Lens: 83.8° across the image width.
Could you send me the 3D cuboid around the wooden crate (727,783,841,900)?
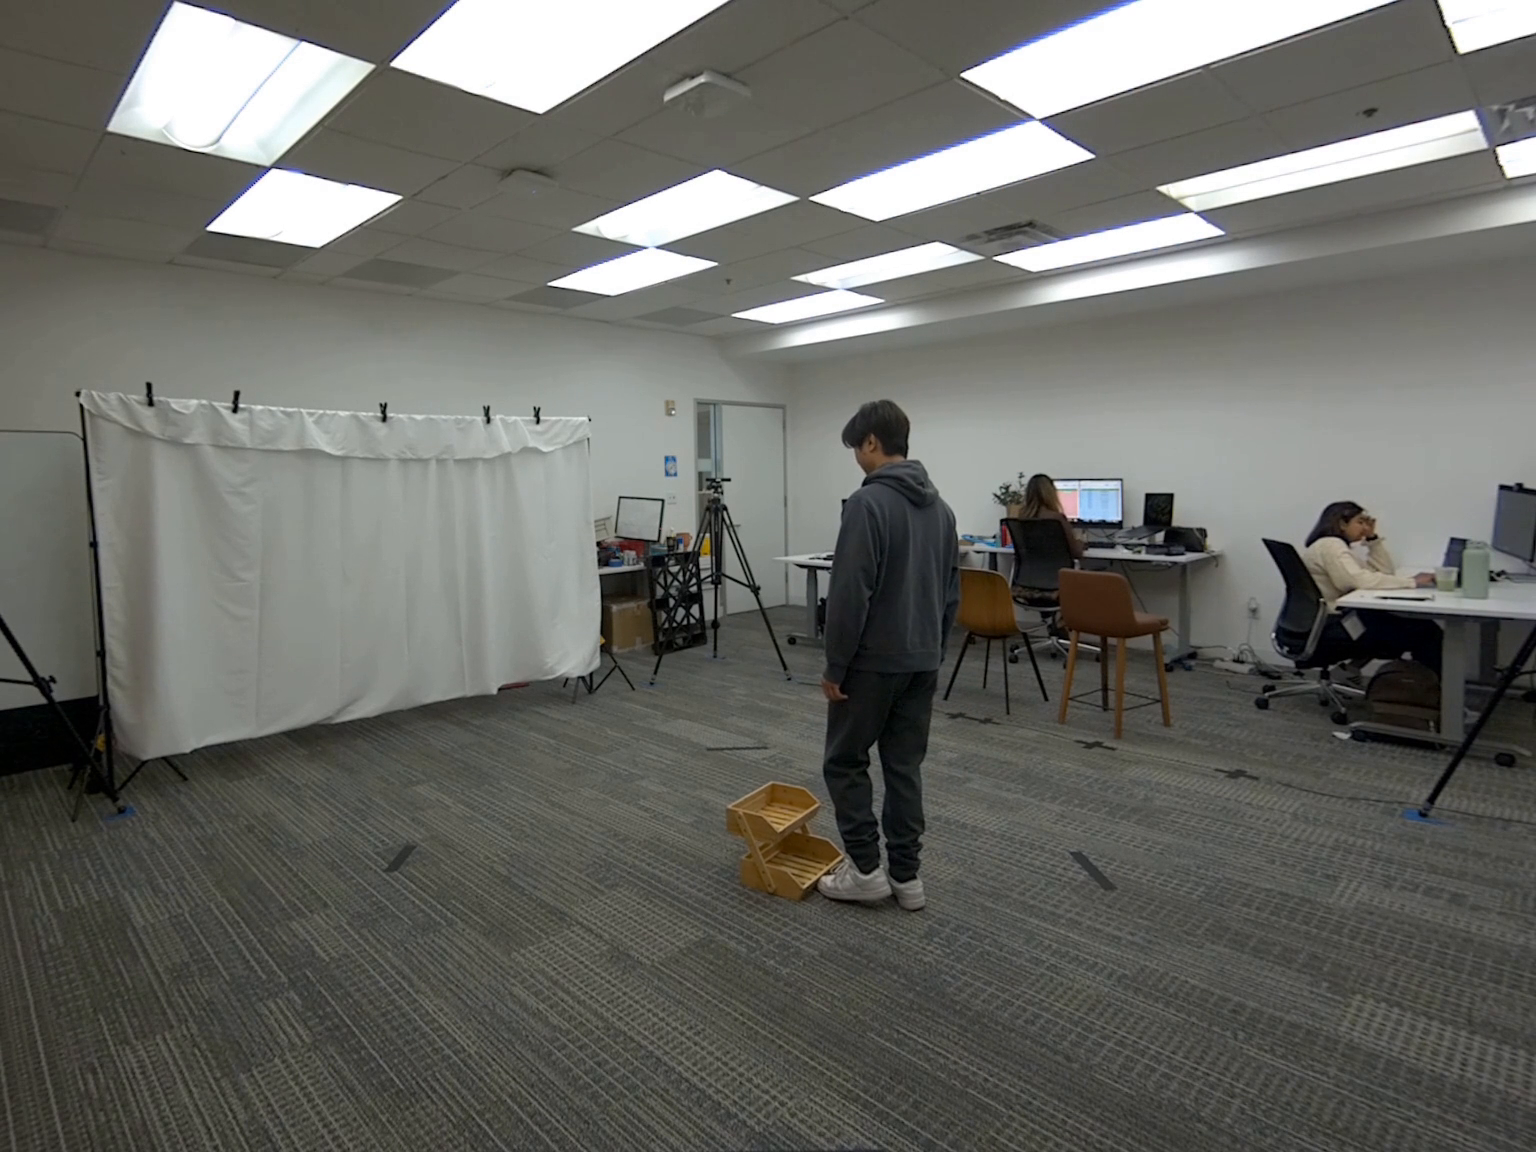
[{"bbox_3d":[0.070,0.919,3.005,0.310,0.272,0.317,2,6,33],"label":"wooden crate"}]
